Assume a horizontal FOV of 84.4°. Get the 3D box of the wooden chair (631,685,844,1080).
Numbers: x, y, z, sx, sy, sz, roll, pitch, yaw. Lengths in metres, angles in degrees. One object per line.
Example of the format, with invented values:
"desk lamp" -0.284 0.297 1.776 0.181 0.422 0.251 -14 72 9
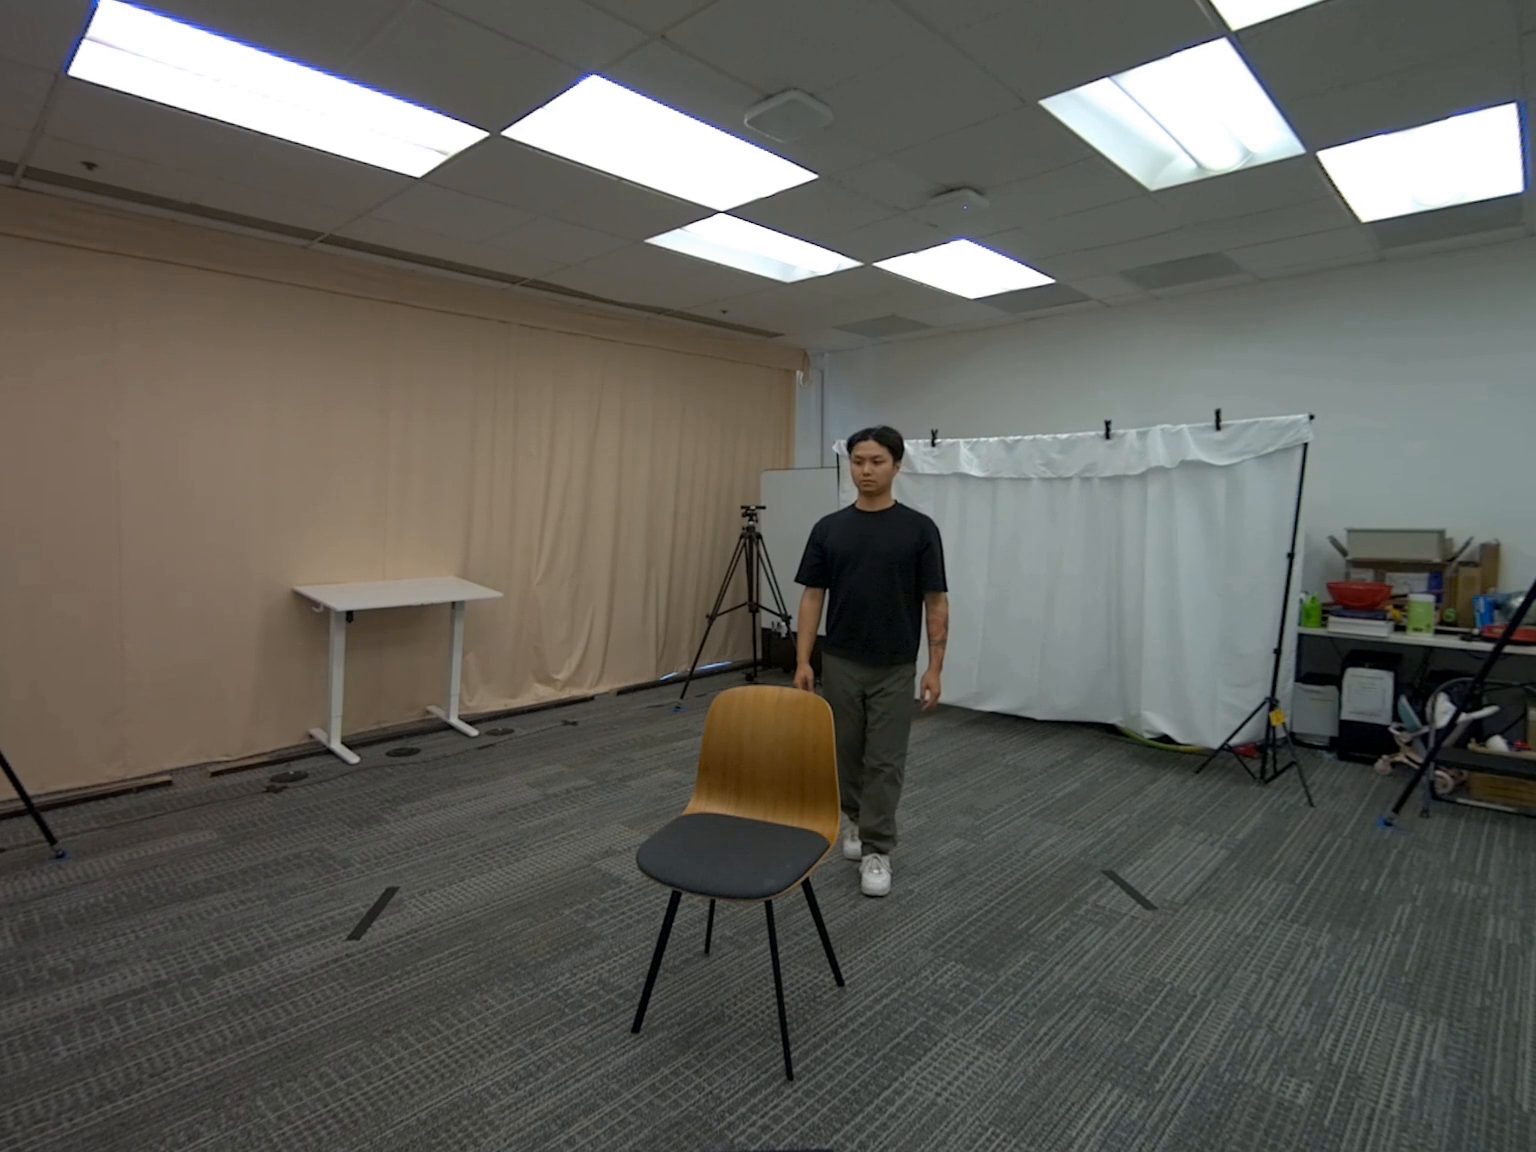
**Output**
"wooden chair" -0.066 0.771 2.298 0.490 0.878 0.510 1 -1 24
